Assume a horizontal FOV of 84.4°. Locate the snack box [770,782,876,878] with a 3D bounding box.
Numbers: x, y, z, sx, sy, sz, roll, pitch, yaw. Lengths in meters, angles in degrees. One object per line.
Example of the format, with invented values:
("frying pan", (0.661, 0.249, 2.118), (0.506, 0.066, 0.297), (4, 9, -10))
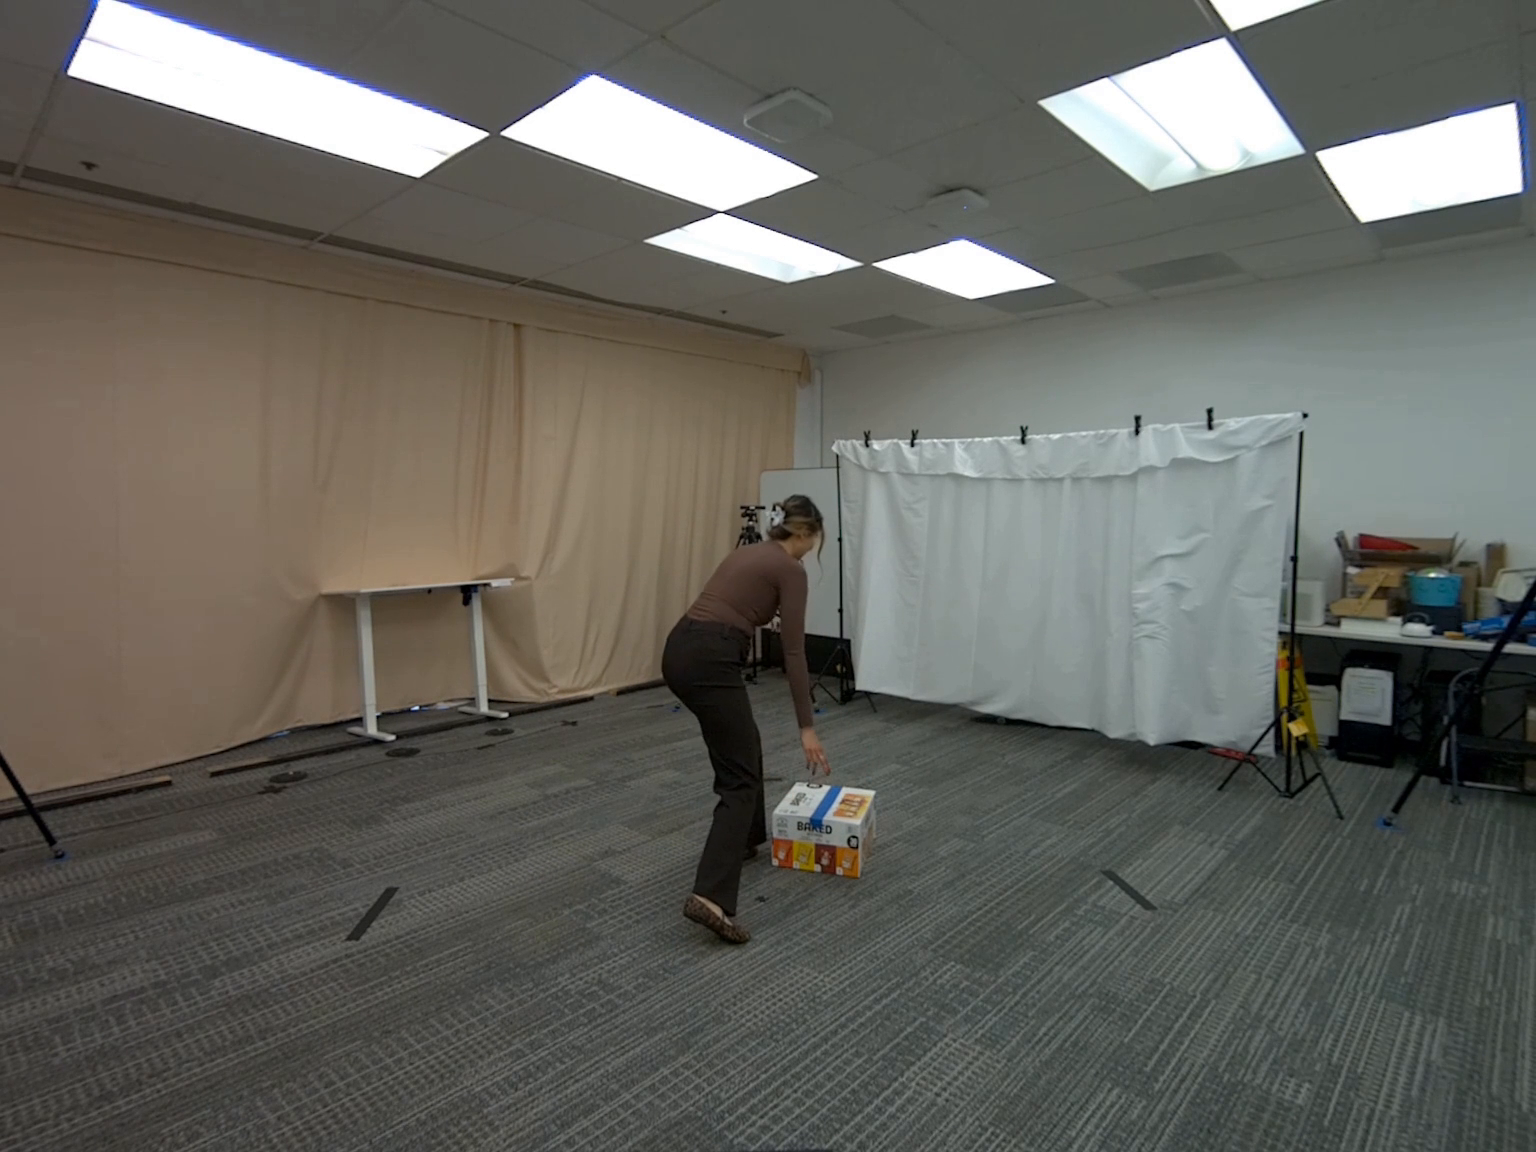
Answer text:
("snack box", (0.235, 1.006, 3.382), (0.347, 0.205, 0.398), (2, 5, 18))
